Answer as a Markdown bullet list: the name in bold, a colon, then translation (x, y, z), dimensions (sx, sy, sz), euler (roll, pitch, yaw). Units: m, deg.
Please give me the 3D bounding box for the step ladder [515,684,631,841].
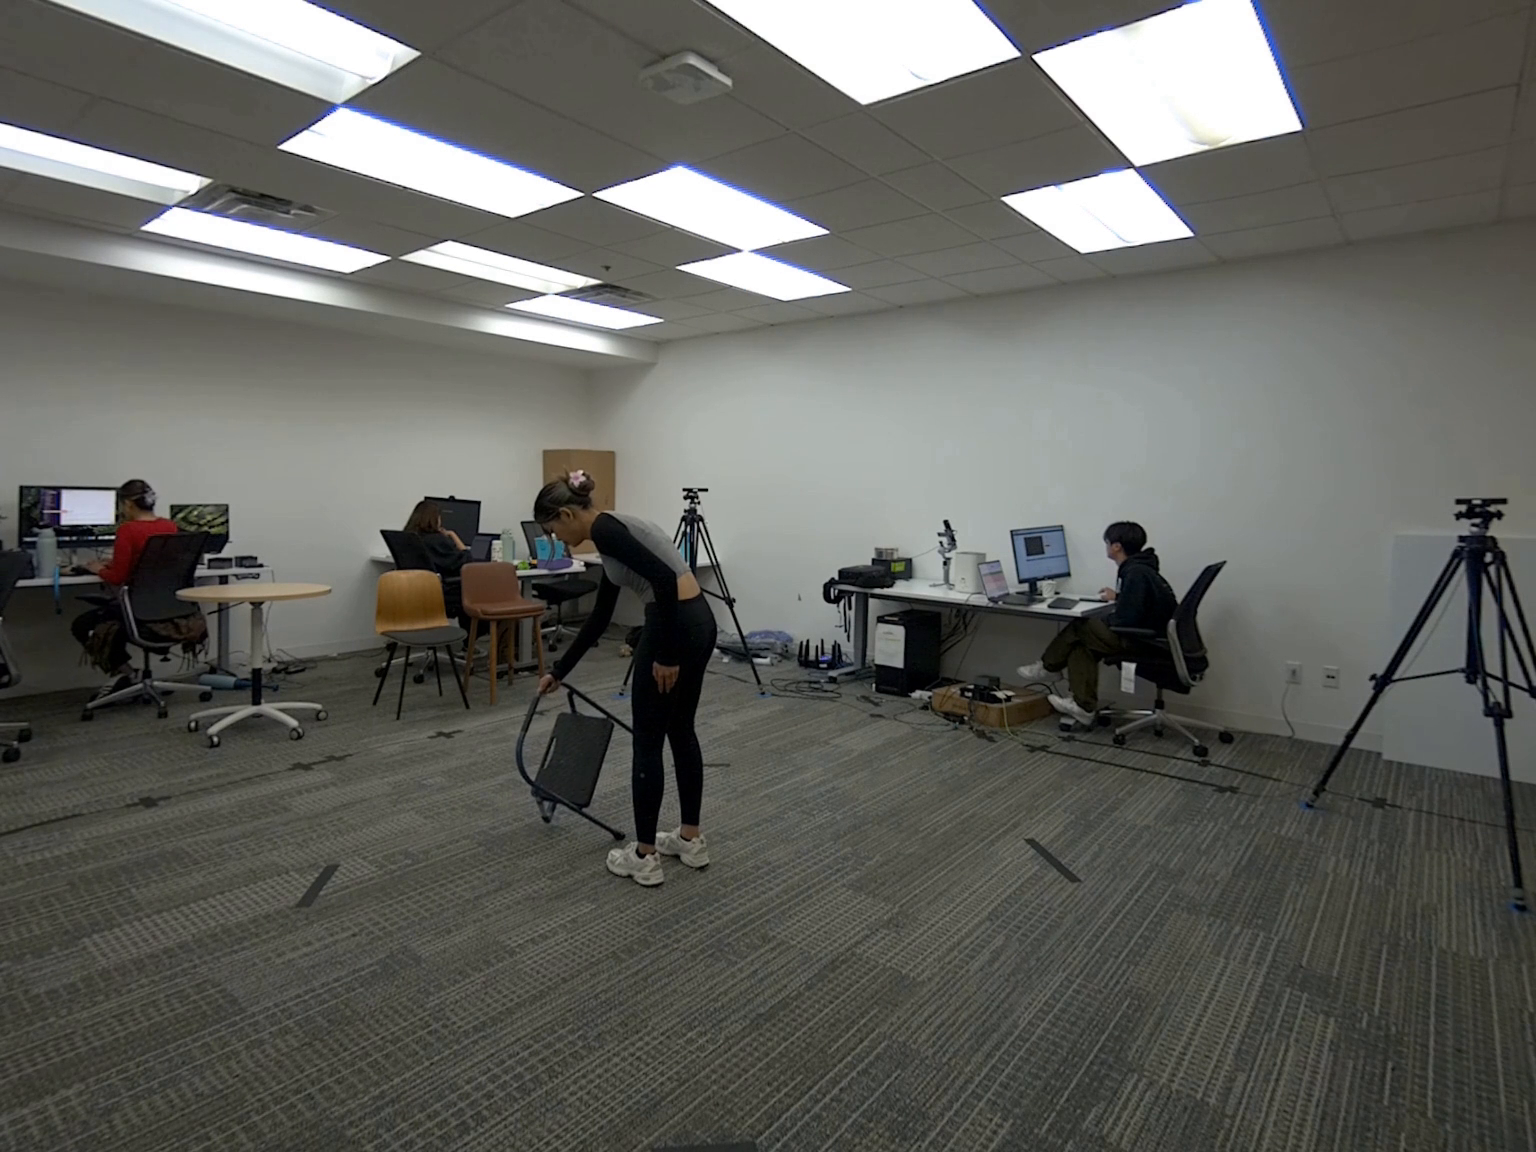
- **step ladder**: translation (-0.766, 0.682, 3.295), dimensions (0.356, 0.438, 0.584), euler (3, -34, 15)
